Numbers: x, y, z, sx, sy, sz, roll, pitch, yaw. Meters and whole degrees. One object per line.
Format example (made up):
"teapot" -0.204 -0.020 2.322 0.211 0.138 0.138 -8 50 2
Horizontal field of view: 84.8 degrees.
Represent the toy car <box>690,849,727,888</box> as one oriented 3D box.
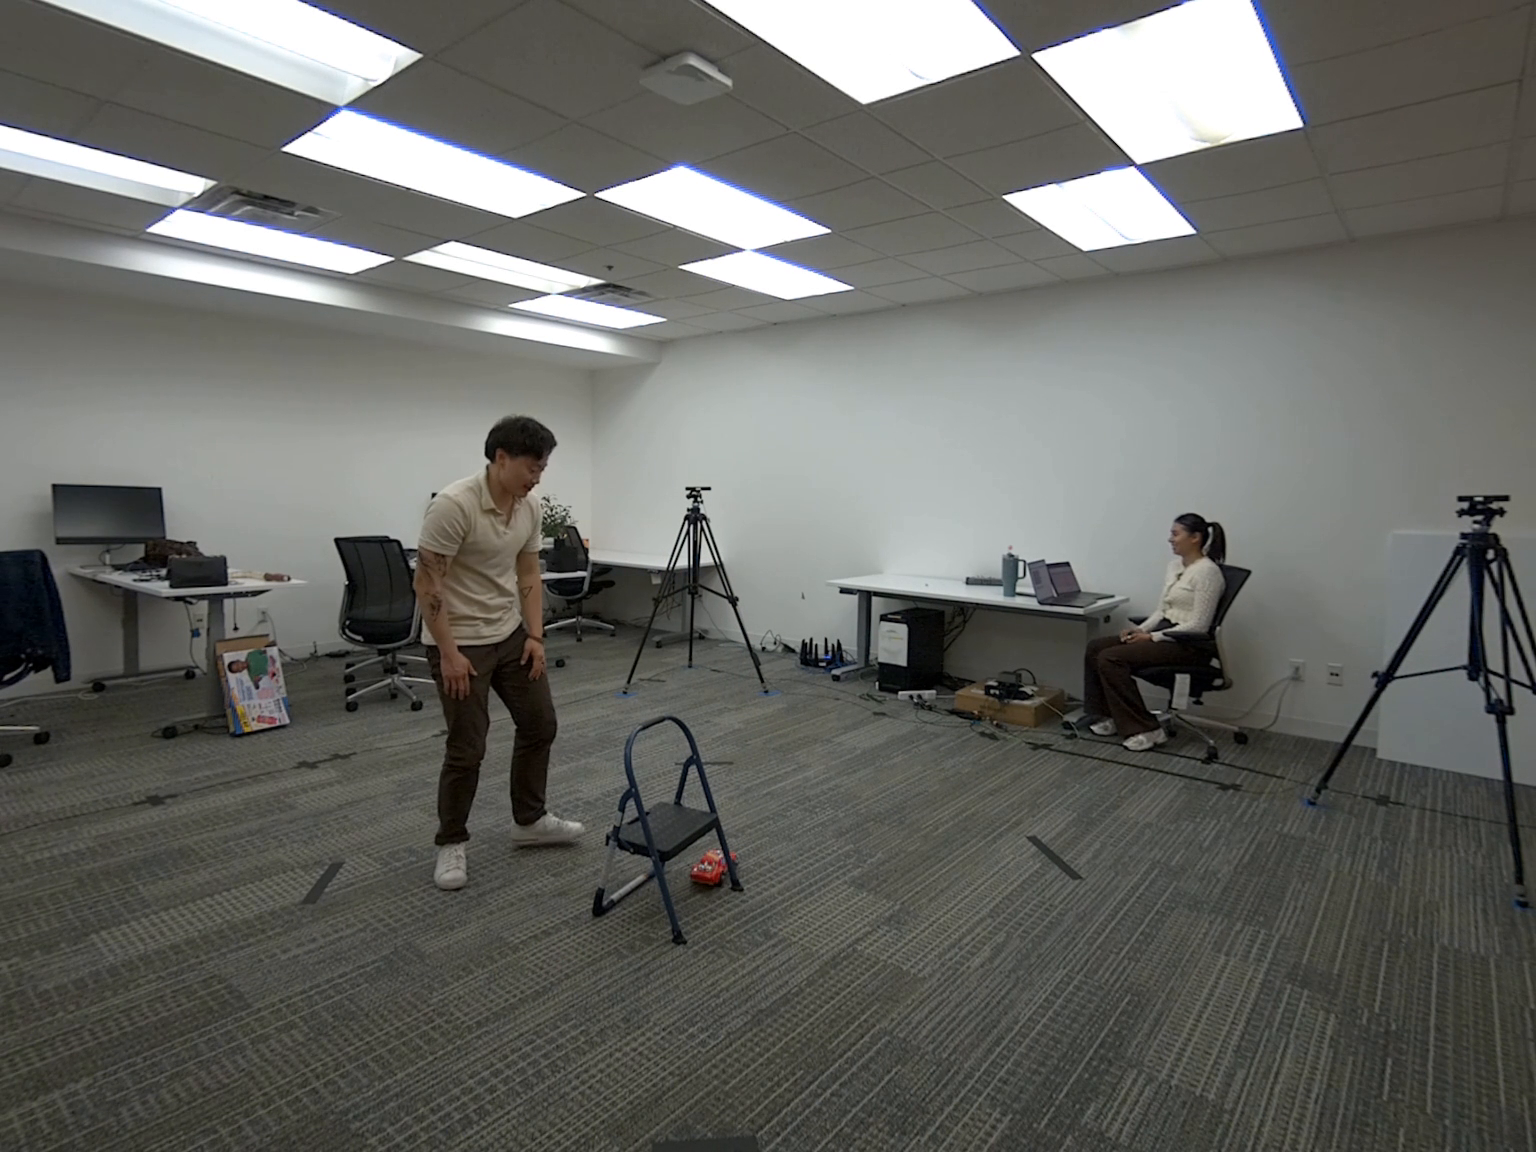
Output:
"toy car" -0.207 1.044 3.042 0.133 0.083 0.248 4 -4 20
